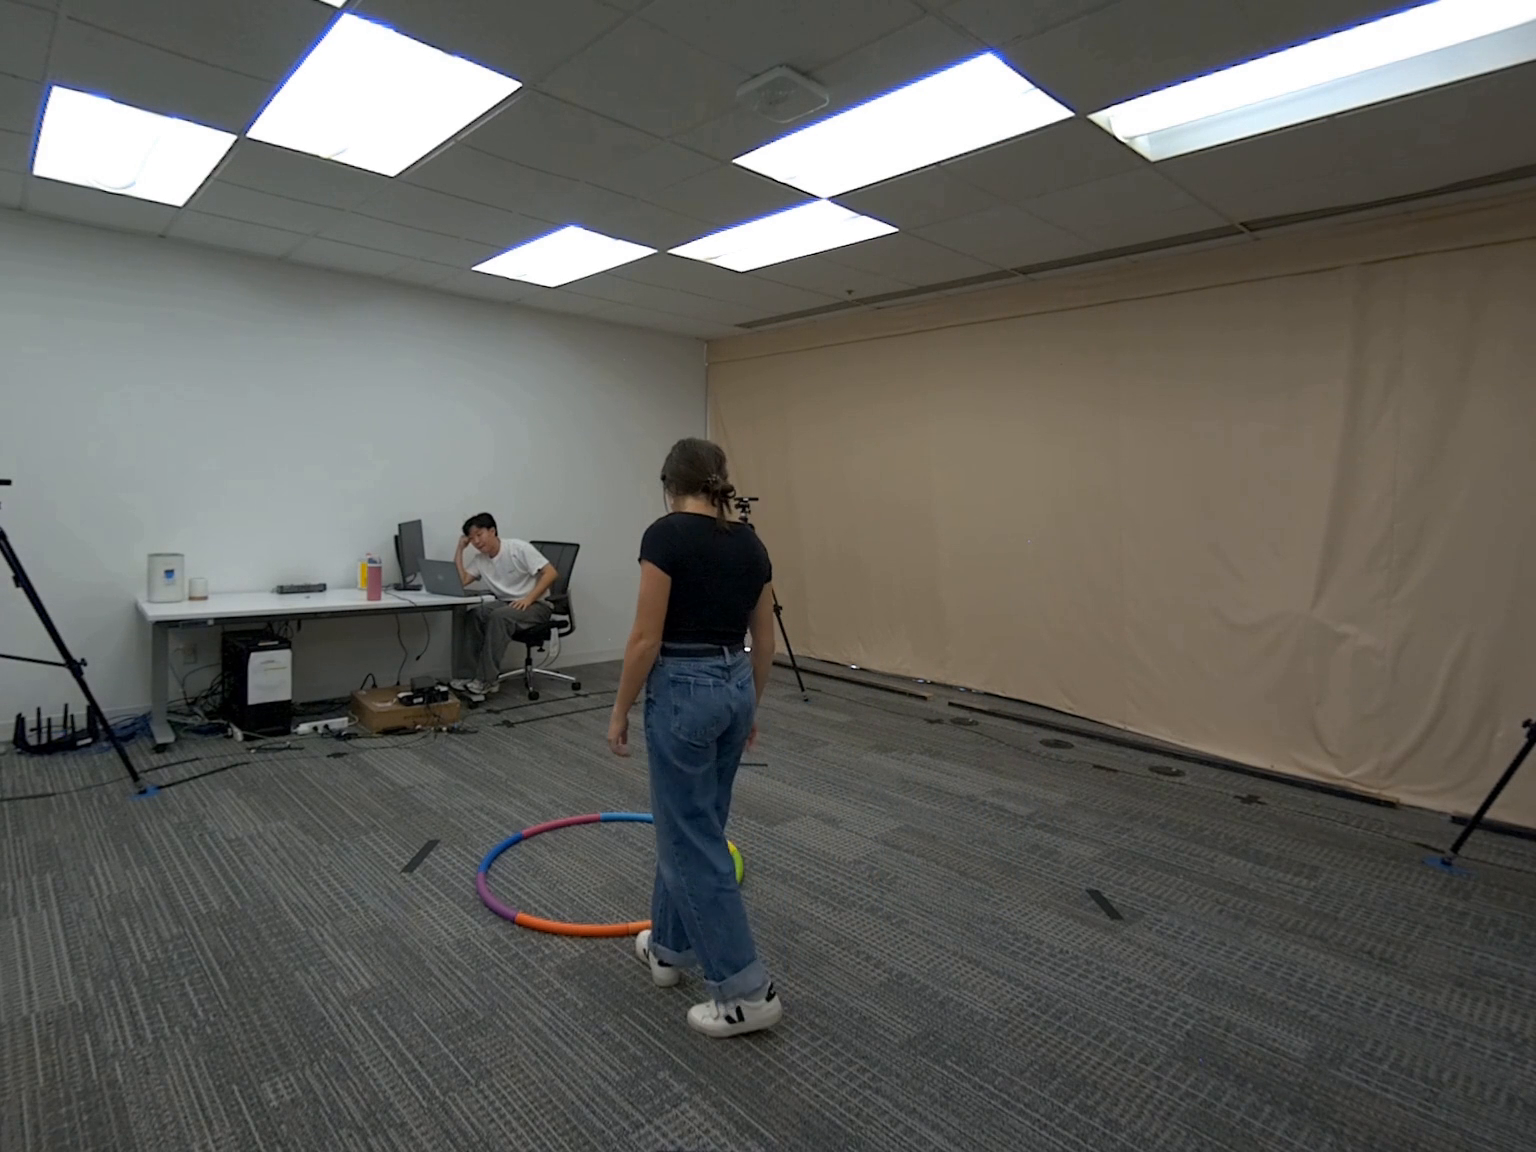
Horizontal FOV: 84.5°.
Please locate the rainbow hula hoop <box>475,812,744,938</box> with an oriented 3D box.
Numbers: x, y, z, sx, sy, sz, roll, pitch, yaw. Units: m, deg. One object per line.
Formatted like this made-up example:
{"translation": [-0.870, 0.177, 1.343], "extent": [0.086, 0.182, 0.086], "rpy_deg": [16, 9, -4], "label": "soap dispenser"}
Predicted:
{"translation": [-0.578, 1.068, 3.132], "extent": [0.978, 0.035, 0.982], "rpy_deg": [1, 5, -1], "label": "rainbow hula hoop"}
